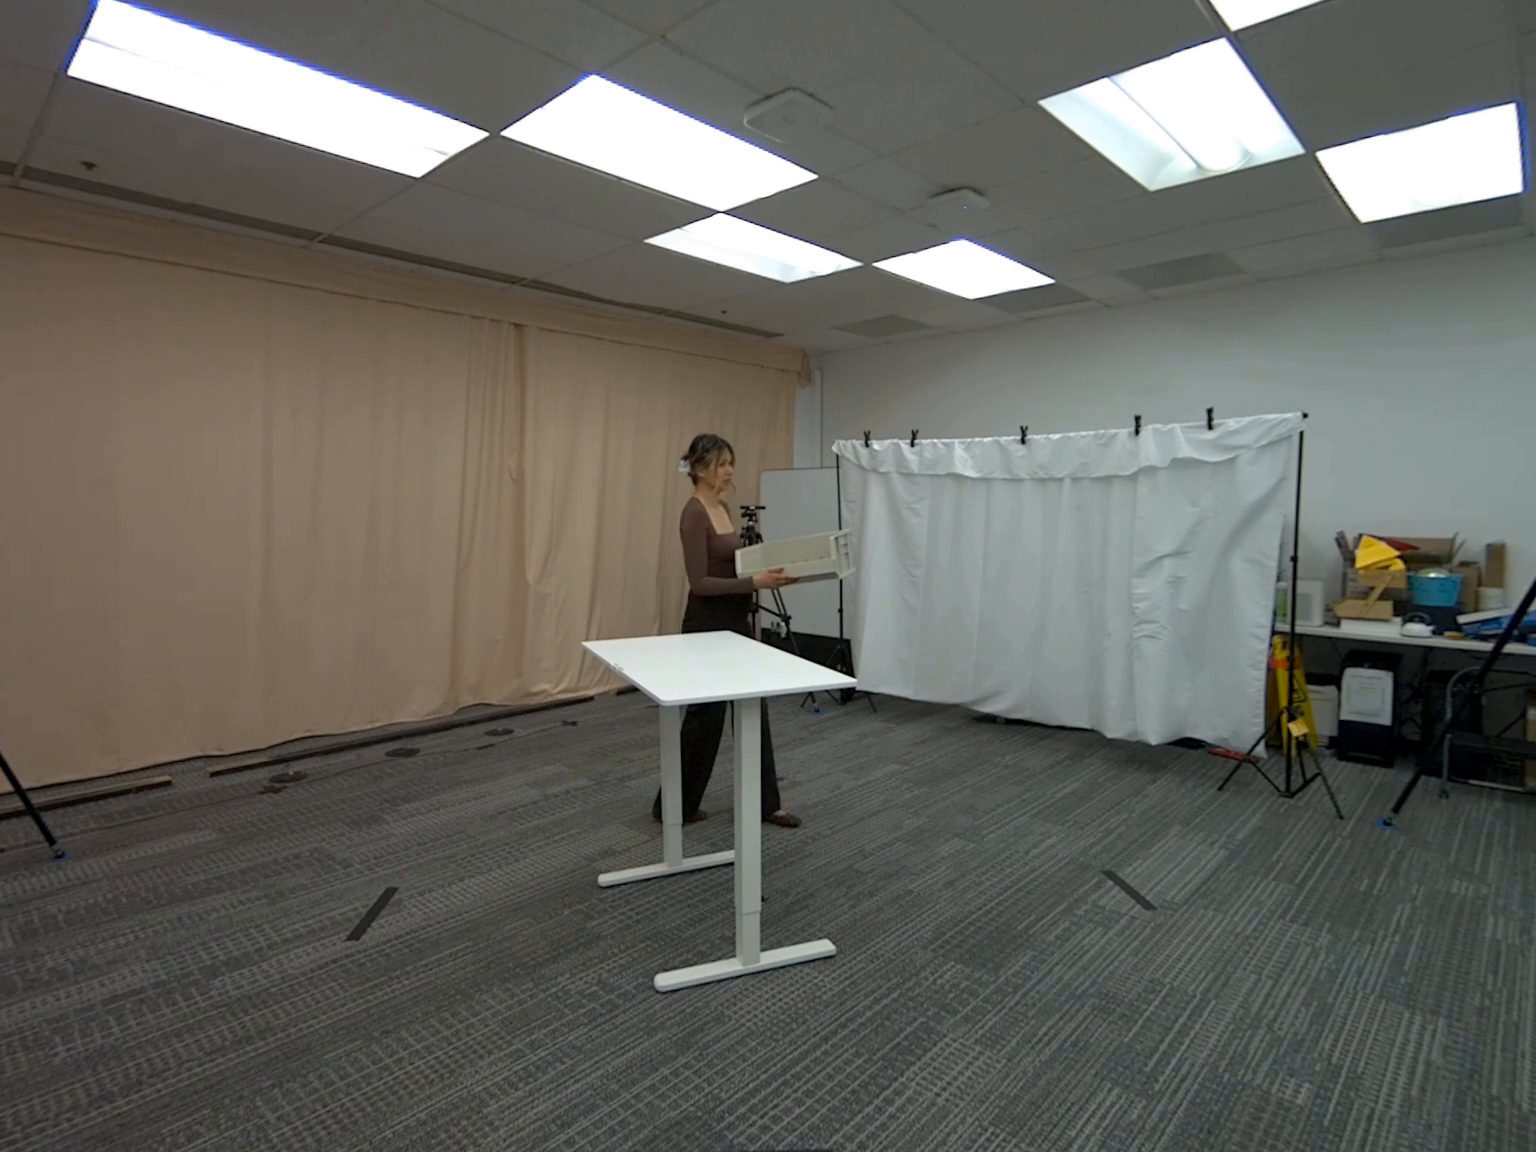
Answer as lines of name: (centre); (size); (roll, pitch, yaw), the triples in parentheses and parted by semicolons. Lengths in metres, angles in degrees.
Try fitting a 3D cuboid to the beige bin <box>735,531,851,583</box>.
beige bin: (0.122, -0.064, 3.537); (0.430, 0.189, 0.371); (-9, 1, 19)
